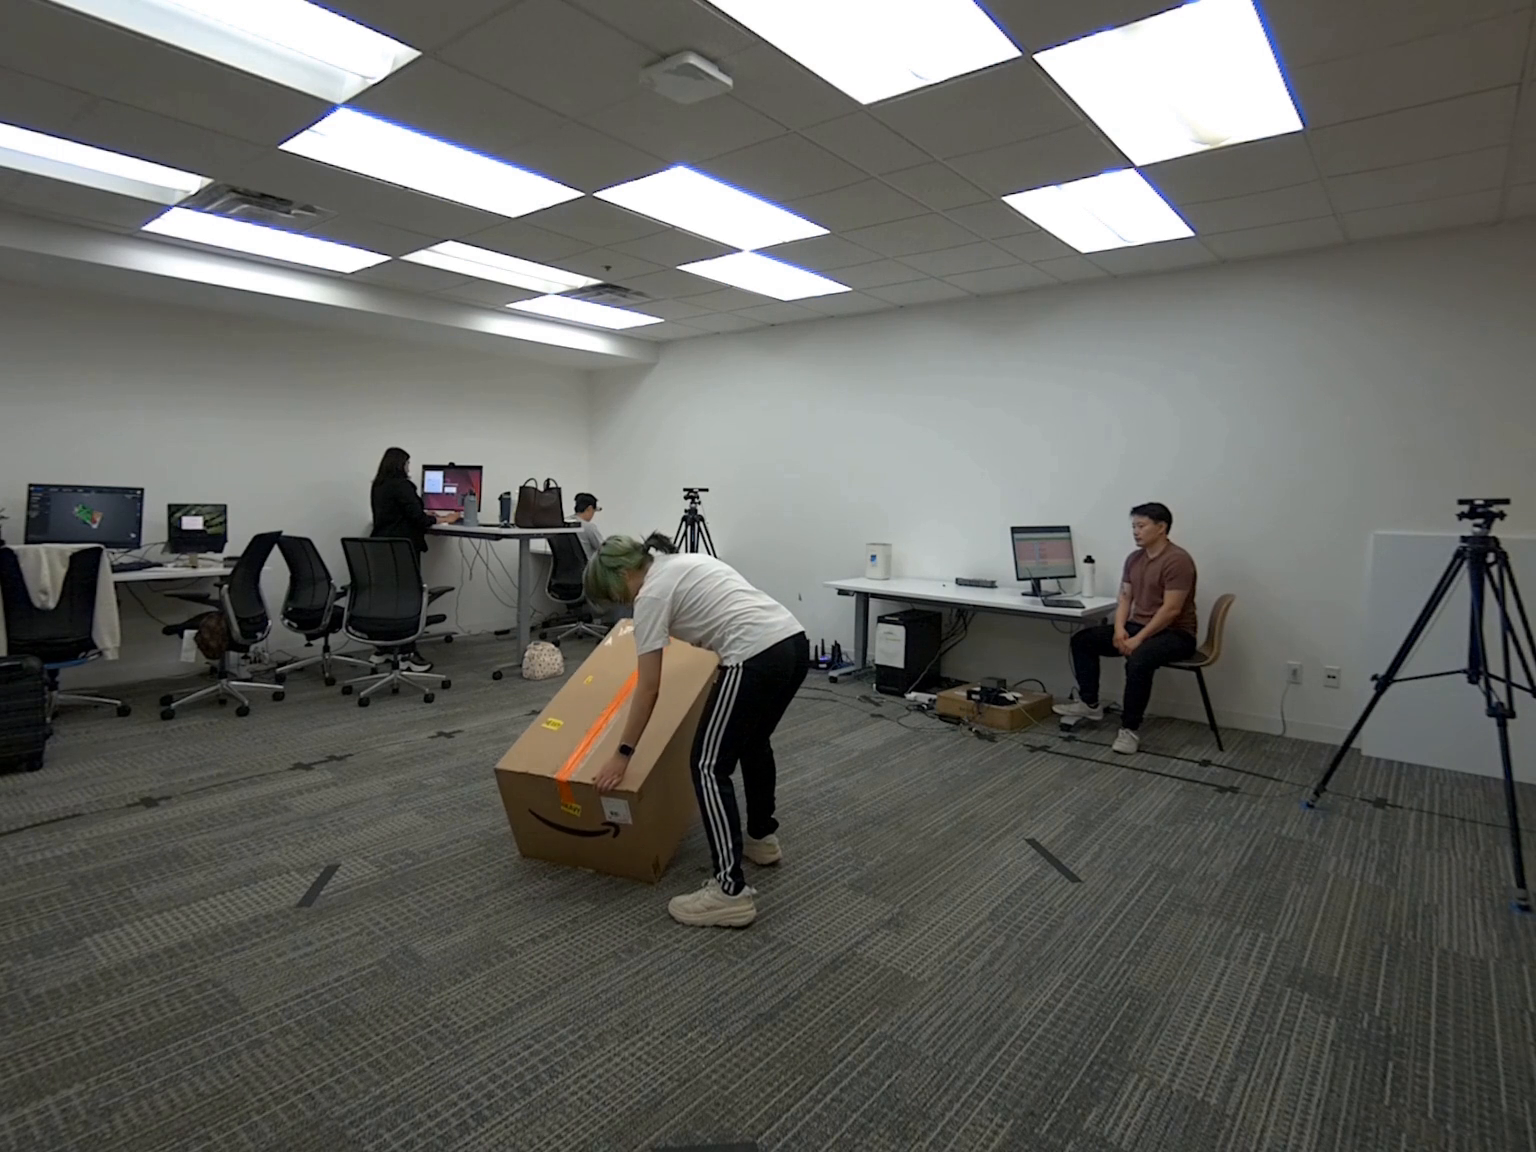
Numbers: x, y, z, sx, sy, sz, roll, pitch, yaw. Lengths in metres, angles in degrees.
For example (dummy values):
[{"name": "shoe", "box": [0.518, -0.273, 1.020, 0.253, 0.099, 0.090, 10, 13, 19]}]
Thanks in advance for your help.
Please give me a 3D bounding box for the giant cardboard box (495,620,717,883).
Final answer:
[{"name": "giant cardboard box", "box": [-0.543, 0.635, 3.415, 0.590, 0.415, 1.030, 2, 29, 19]}]
